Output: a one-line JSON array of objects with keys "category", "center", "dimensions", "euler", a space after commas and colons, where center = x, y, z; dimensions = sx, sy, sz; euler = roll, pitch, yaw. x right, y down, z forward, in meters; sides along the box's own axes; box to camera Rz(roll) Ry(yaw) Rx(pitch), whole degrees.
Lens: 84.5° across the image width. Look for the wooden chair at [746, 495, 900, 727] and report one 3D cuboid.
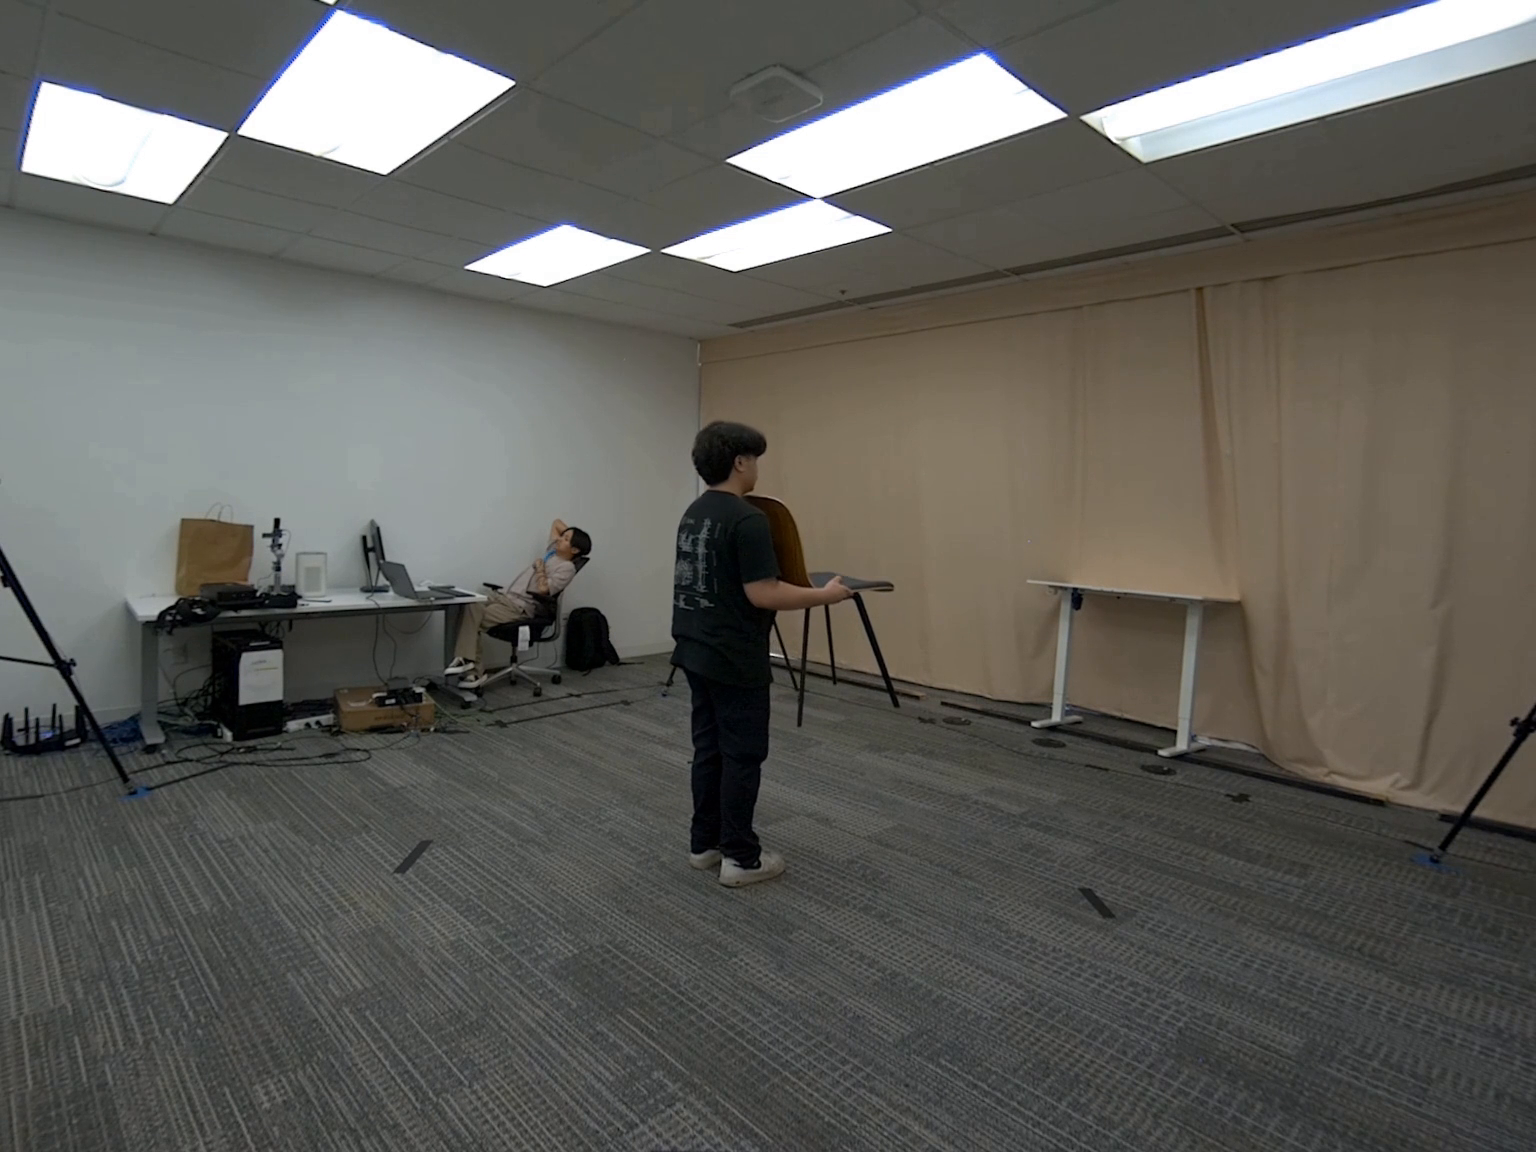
[{"category": "wooden chair", "center": [0.179, 0.092, 3.306], "dimensions": [0.515, 0.872, 0.488], "euler": [-9, 8, -27]}]
